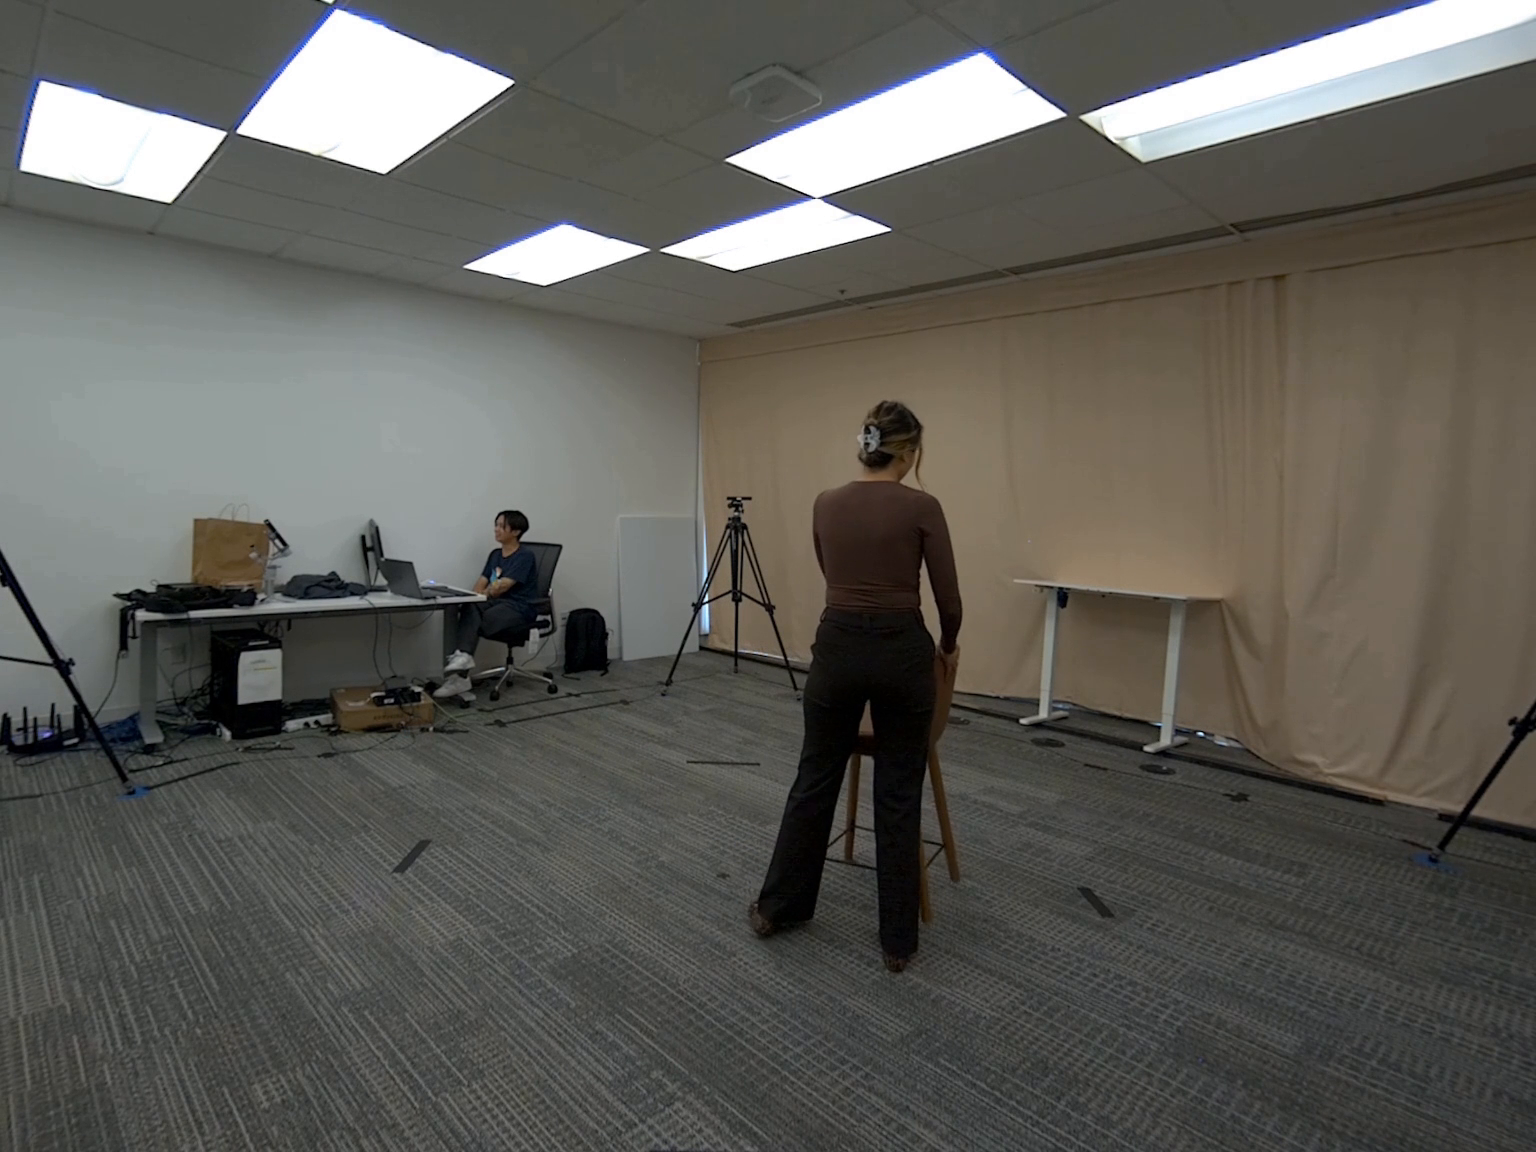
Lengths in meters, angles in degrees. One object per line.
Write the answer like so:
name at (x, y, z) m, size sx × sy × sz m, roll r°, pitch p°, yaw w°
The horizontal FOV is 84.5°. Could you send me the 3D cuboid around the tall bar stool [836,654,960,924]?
tall bar stool at (0.411, 0.685, 2.992) m, size 0.477 × 0.888 × 0.448 m, roll 2°, pitch 3°, yaw 29°
